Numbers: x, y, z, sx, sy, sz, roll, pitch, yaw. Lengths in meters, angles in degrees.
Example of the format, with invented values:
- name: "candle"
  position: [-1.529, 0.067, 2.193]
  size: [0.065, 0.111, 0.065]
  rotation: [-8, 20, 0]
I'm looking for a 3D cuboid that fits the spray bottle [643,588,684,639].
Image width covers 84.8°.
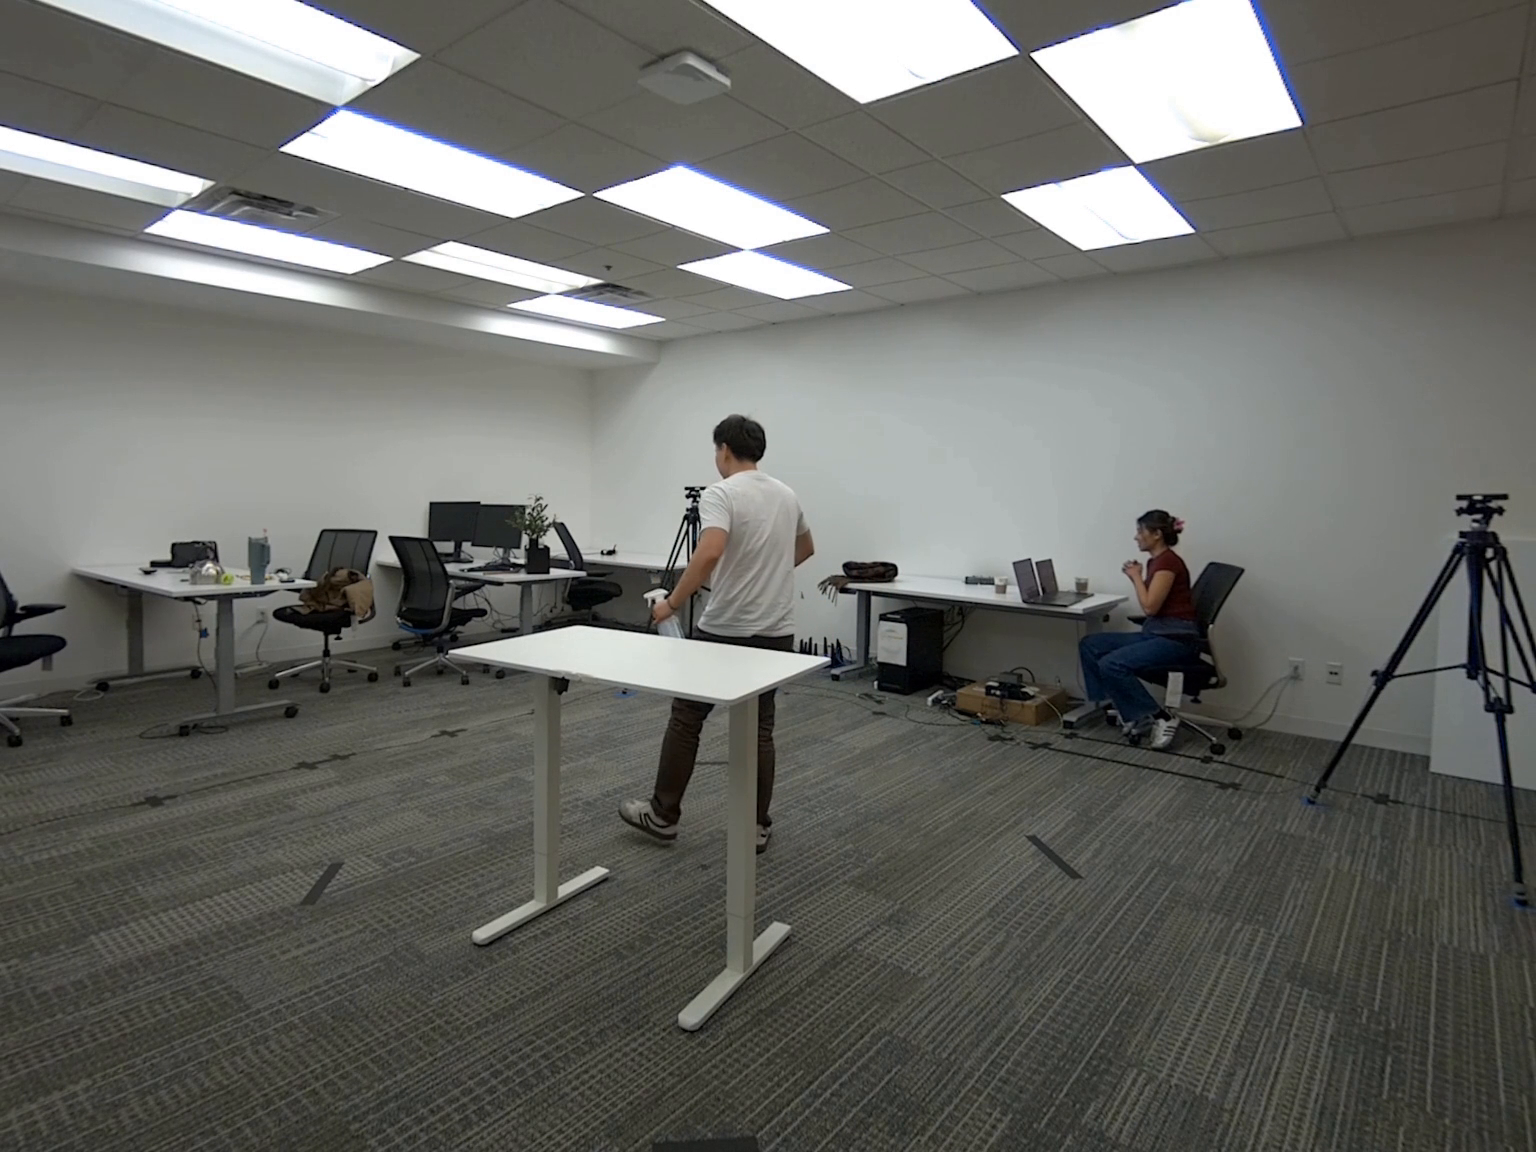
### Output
- name: "spray bottle"
  position: [-0.393, 0.179, 3.190]
  size: [0.091, 0.307, 0.084]
  rotation: [-33, -29, 23]
